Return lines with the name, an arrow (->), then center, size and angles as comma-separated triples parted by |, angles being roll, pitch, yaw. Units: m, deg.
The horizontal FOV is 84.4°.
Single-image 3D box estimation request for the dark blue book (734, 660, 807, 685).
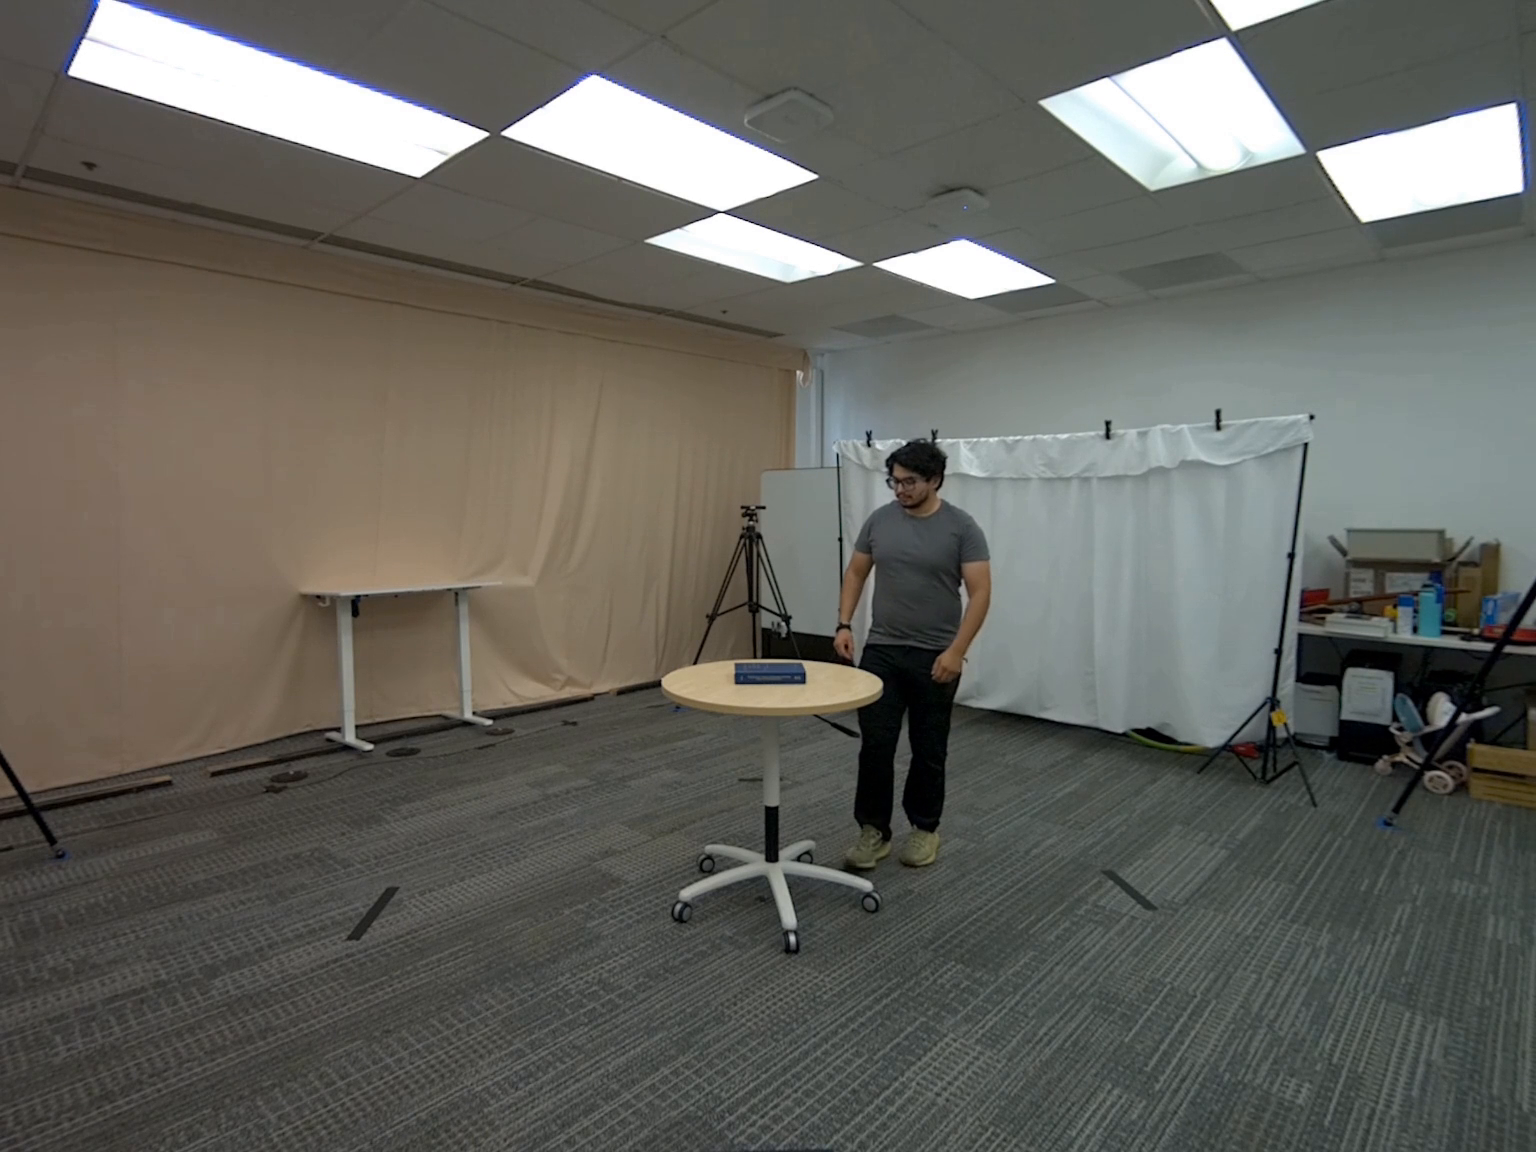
dark blue book -> 0.012, 0.343, 2.946 | 0.245, 0.045, 0.164 | 0, 5, 0
